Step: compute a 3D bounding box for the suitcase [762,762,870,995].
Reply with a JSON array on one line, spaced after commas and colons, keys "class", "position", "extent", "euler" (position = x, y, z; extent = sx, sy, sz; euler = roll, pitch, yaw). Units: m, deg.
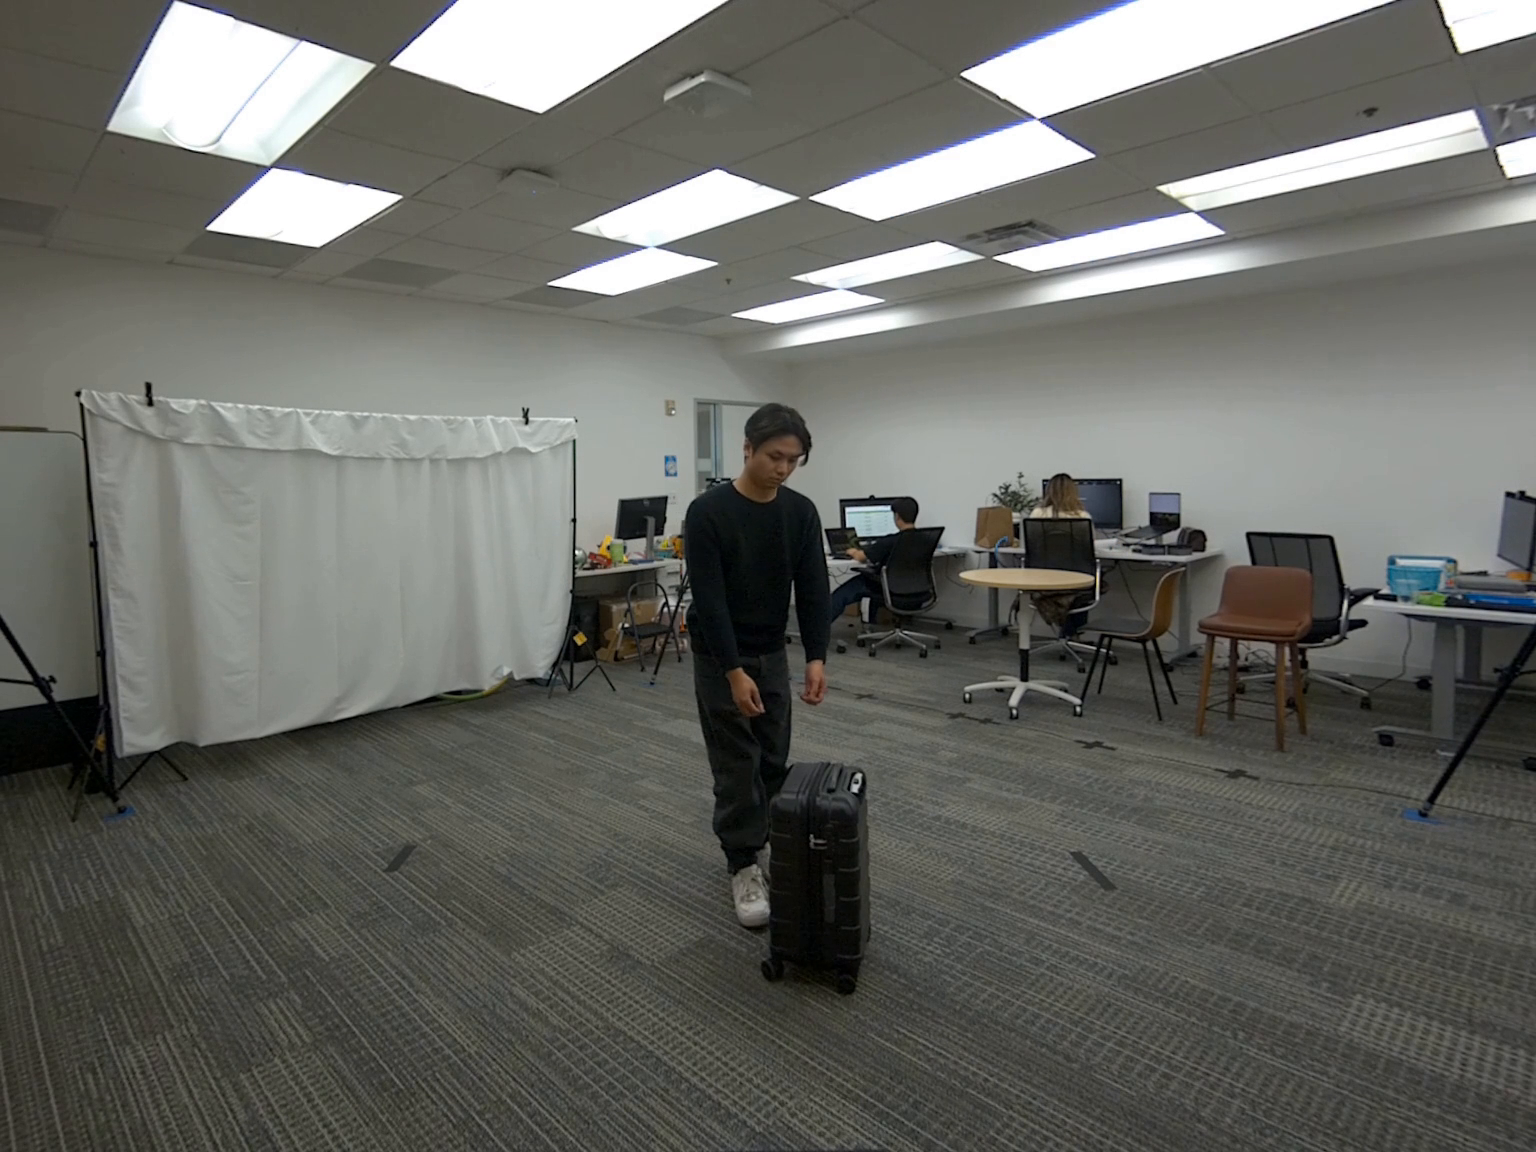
[{"class": "suitcase", "position": [0.170, 0.837, 2.461], "extent": [0.251, 0.547, 0.372], "euler": [-1, 4, 12]}]
